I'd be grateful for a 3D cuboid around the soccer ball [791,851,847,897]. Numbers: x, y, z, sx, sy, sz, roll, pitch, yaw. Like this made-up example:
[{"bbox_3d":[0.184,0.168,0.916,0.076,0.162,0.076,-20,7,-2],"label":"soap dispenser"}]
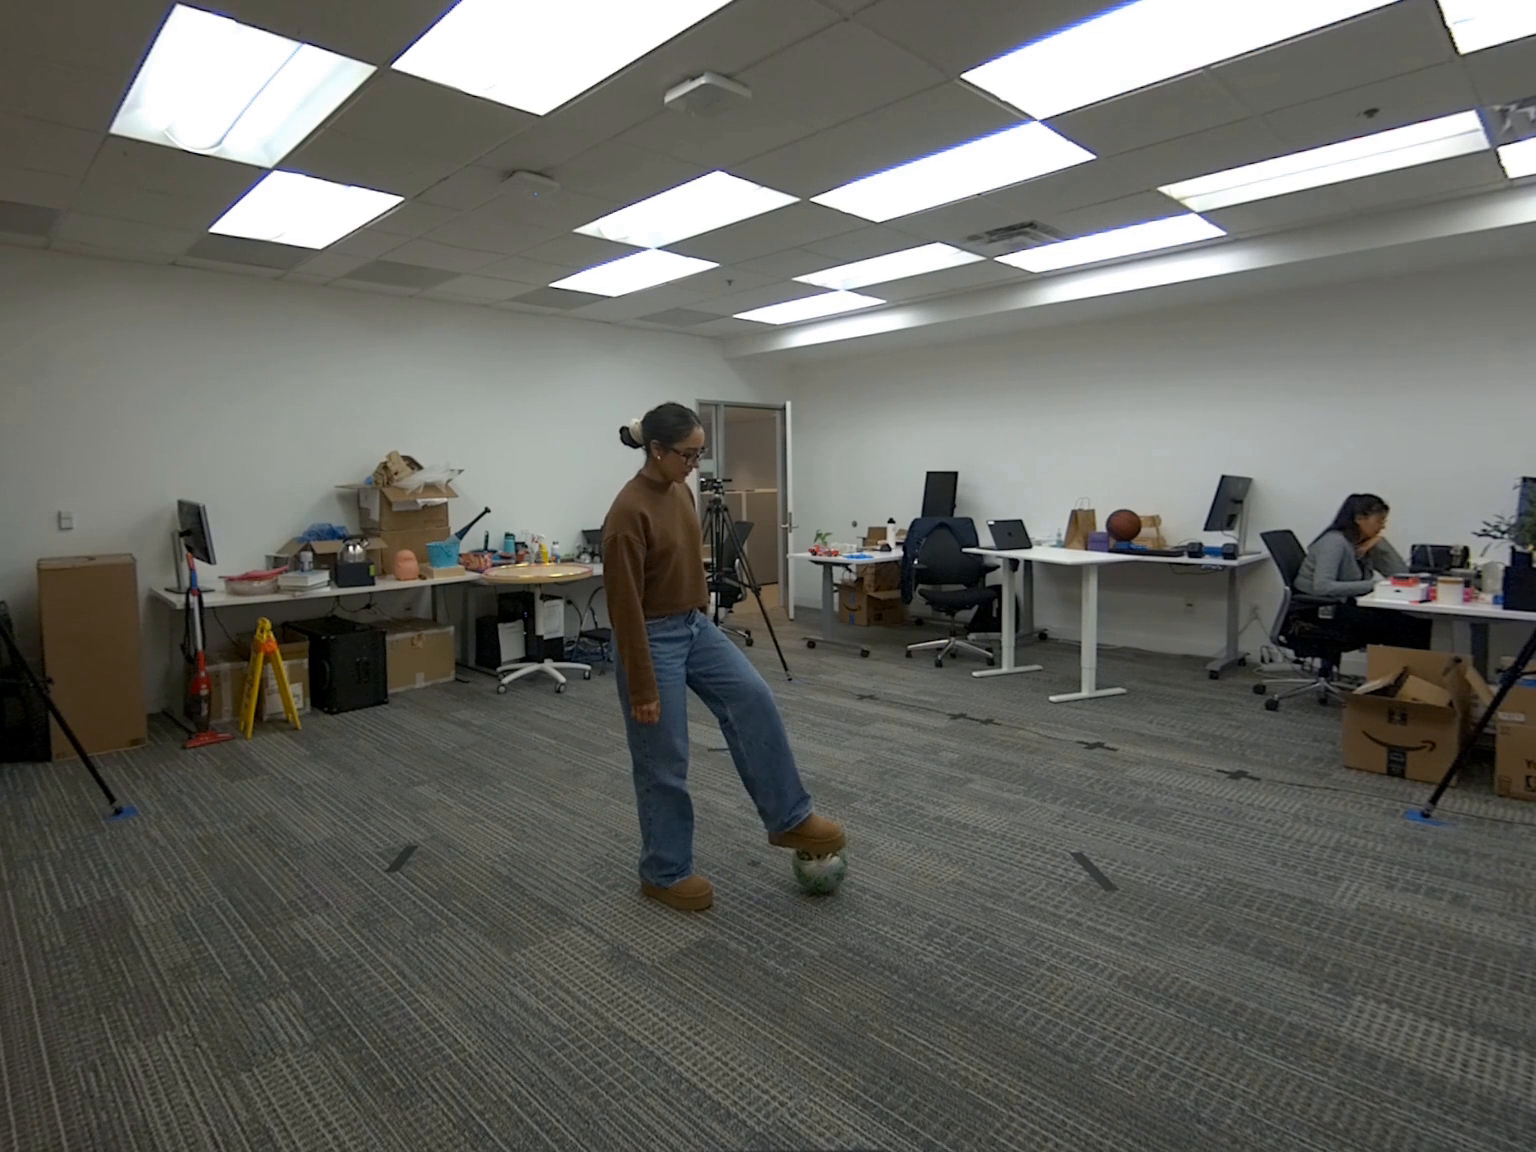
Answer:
[{"bbox_3d":[0.182,0.964,2.886,0.187,0.187,0.188,-1,5,-2],"label":"soccer ball"}]
